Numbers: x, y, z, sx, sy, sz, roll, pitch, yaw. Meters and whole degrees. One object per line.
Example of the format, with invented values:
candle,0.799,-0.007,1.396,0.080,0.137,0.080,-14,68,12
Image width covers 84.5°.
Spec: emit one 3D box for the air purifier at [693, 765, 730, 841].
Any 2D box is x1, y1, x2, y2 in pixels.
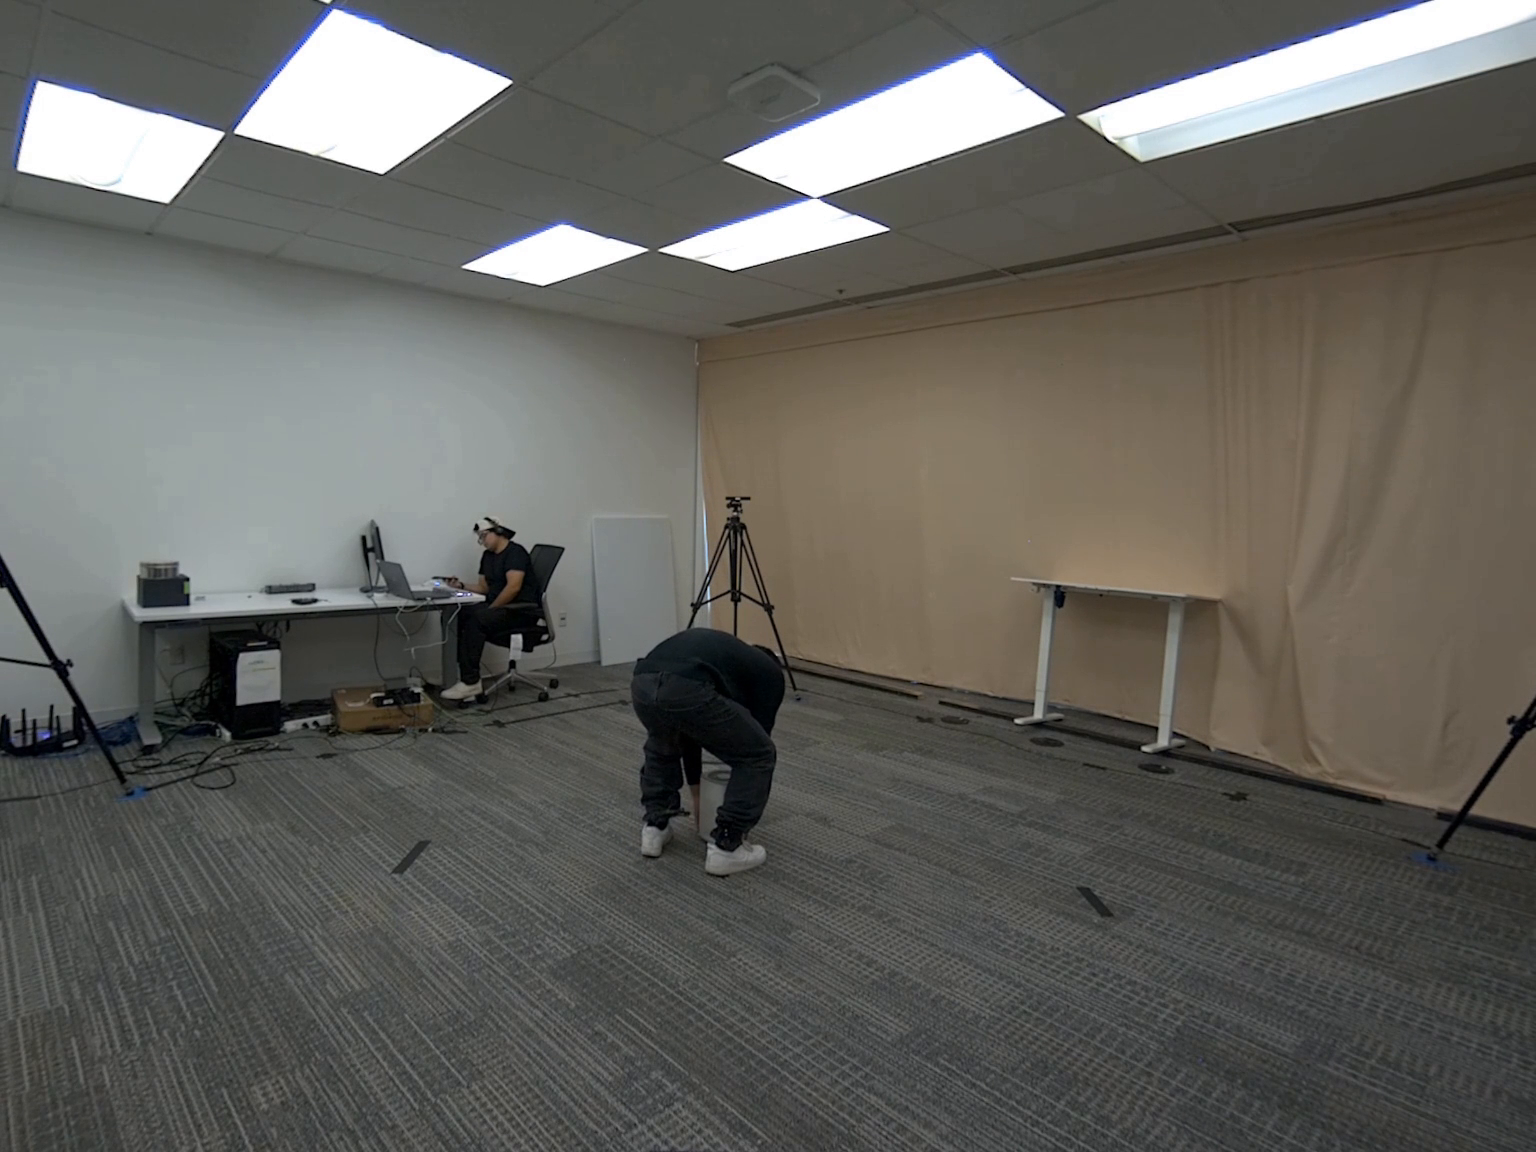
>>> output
air purifier,-0.192,0.937,3.422,0.167,0.265,0.176,-1,4,-40
